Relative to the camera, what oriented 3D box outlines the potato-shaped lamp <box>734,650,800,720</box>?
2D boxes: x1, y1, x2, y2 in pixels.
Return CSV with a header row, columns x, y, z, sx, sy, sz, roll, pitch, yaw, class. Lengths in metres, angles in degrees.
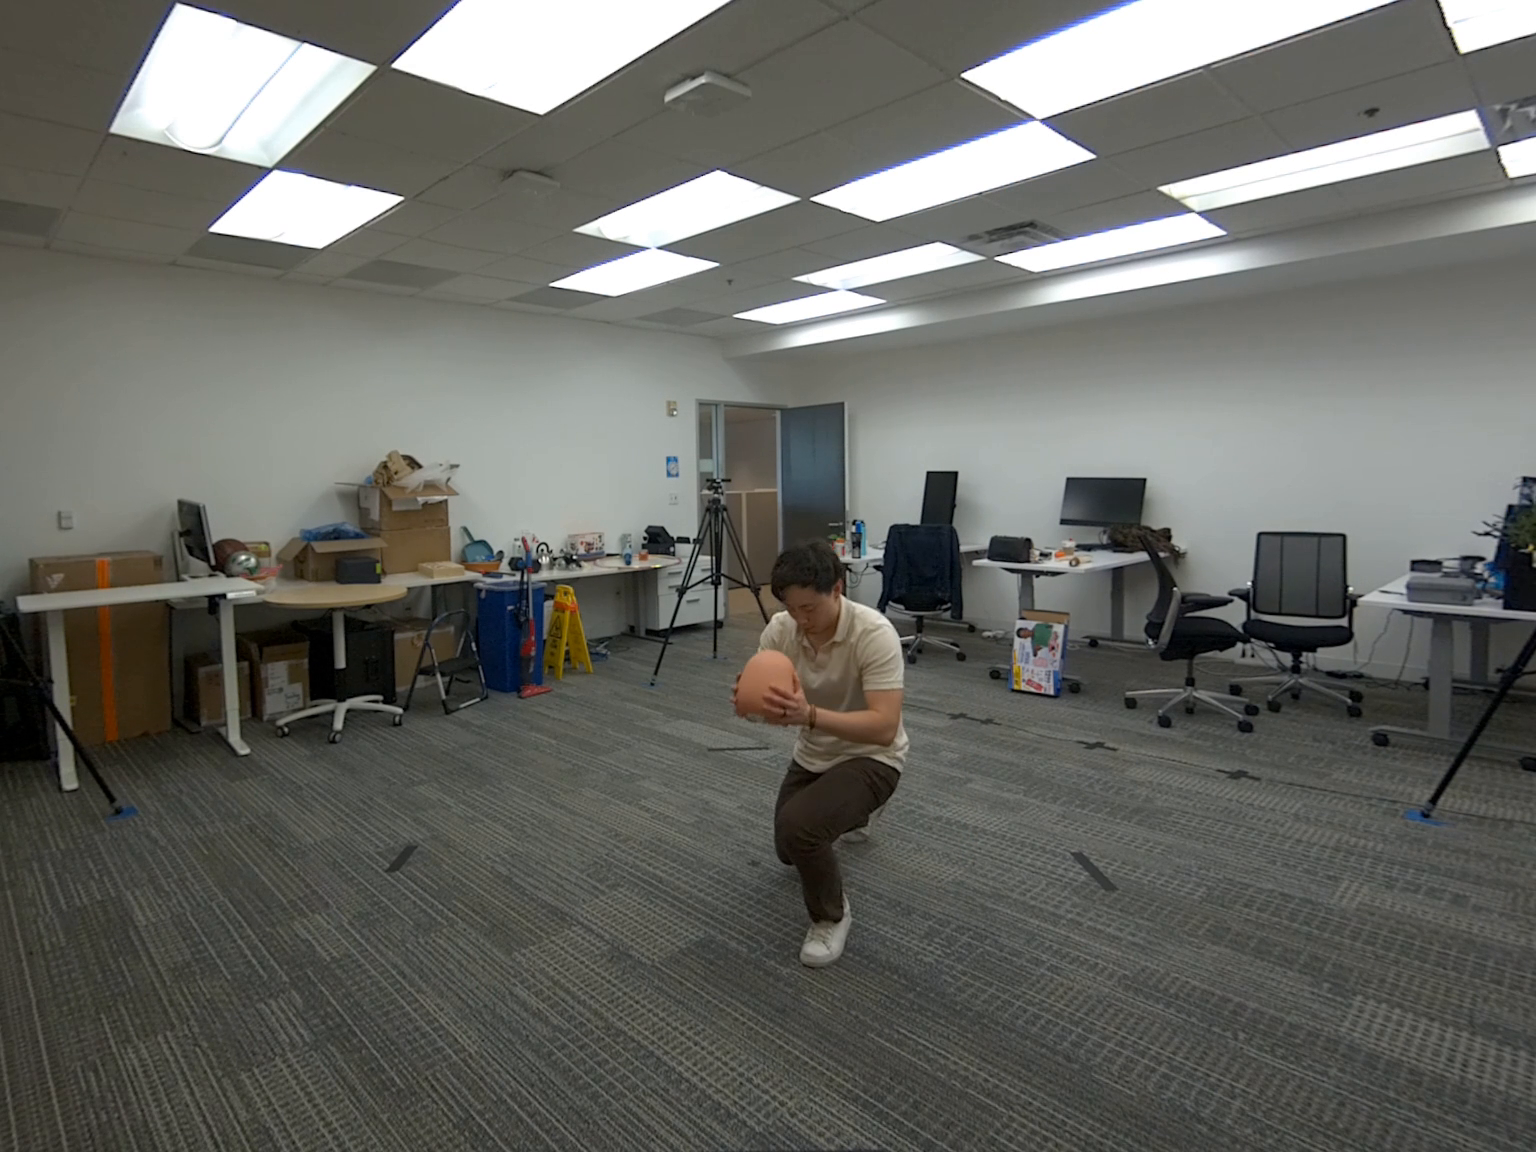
x,y,z,sx,sy,sz,roll,pitch,yaw,class
0.008,0.289,2.417,0.167,0.201,0.166,6,-22,13,potato-shaped lamp
